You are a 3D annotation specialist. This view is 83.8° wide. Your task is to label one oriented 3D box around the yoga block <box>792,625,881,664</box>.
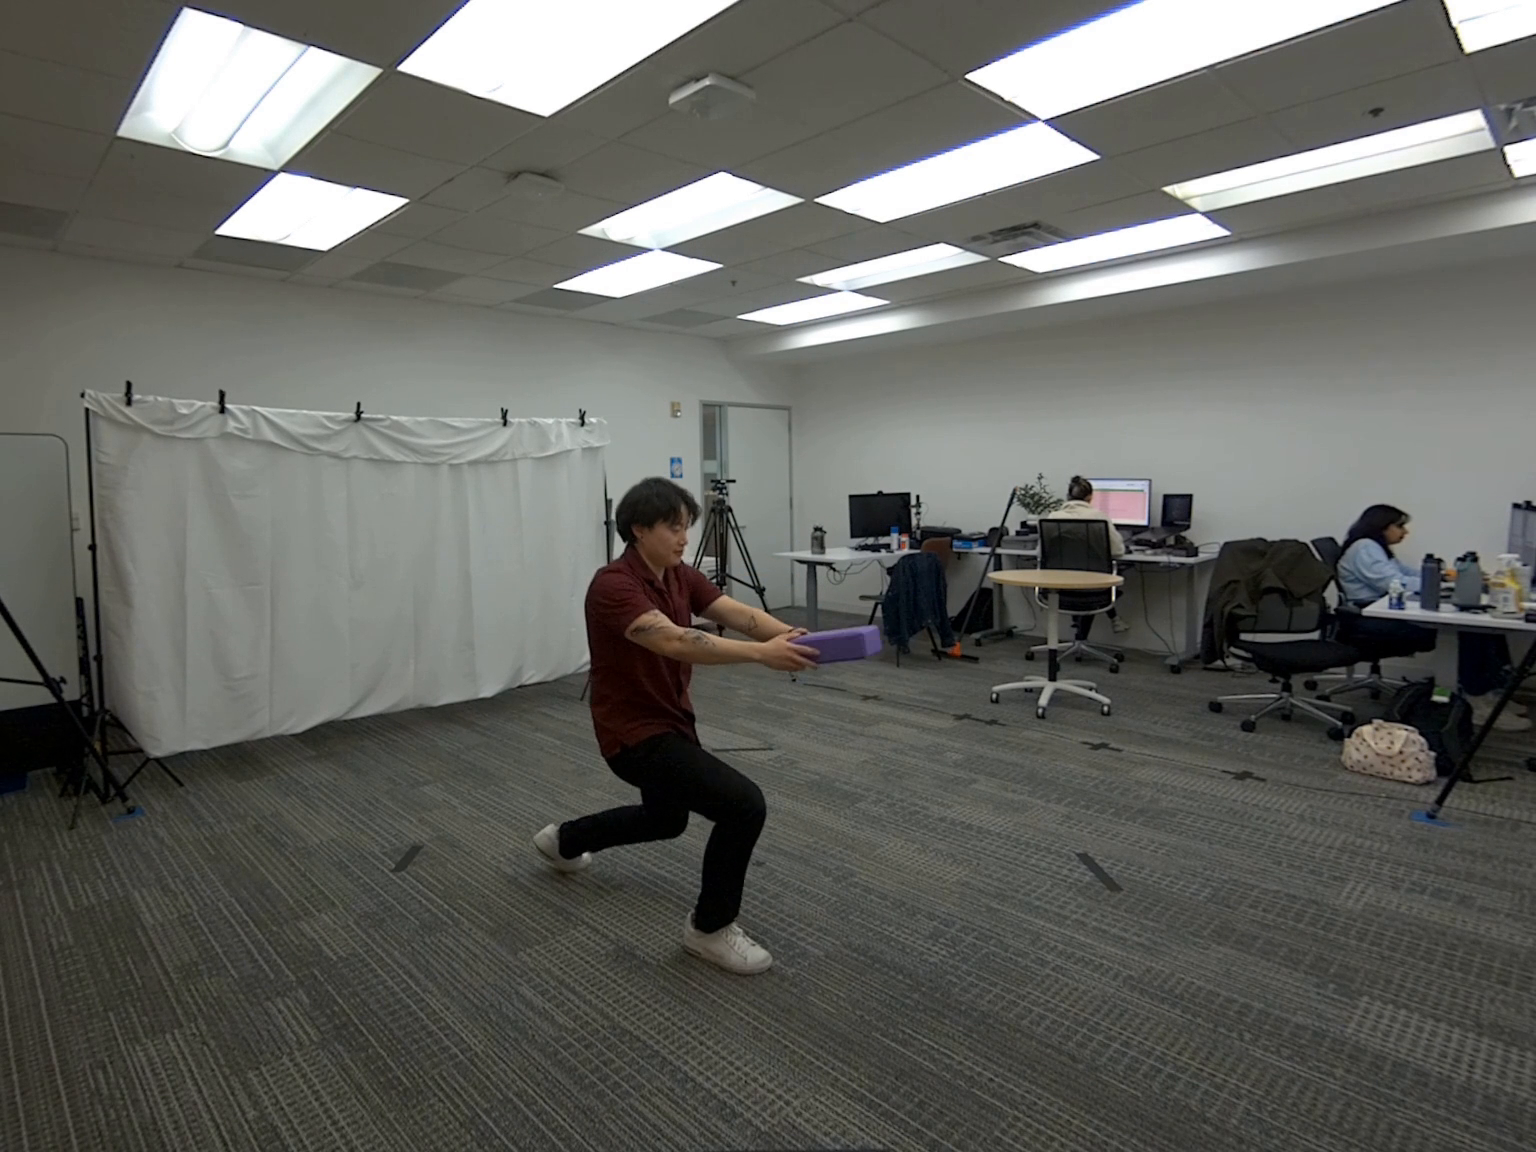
[{"bbox_3d":[0.159,0.196,2.368,0.232,0.076,0.147,-8,0,16],"label":"yoga block"}]
